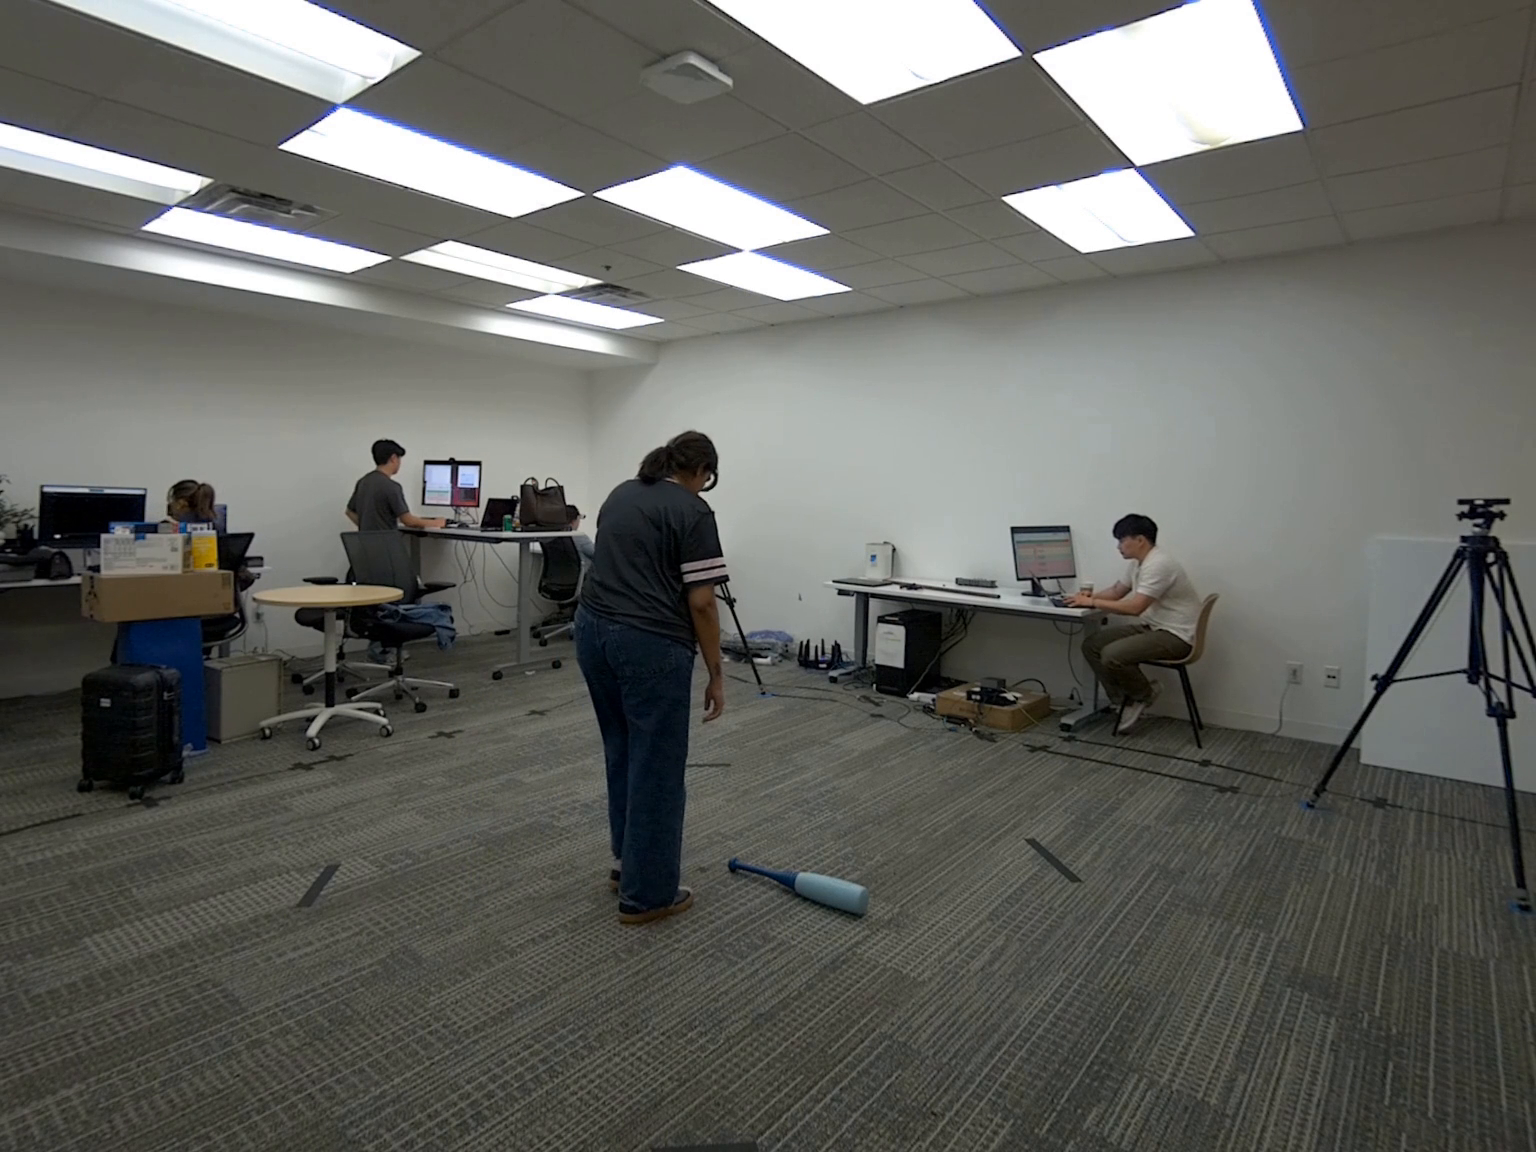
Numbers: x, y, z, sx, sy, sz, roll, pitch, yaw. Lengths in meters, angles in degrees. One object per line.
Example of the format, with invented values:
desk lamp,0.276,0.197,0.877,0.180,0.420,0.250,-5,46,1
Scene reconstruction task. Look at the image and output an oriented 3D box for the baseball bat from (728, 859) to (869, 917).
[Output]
baseball bat,0.085,1.059,2.939,0.560,0.089,0.086,2,4,36
